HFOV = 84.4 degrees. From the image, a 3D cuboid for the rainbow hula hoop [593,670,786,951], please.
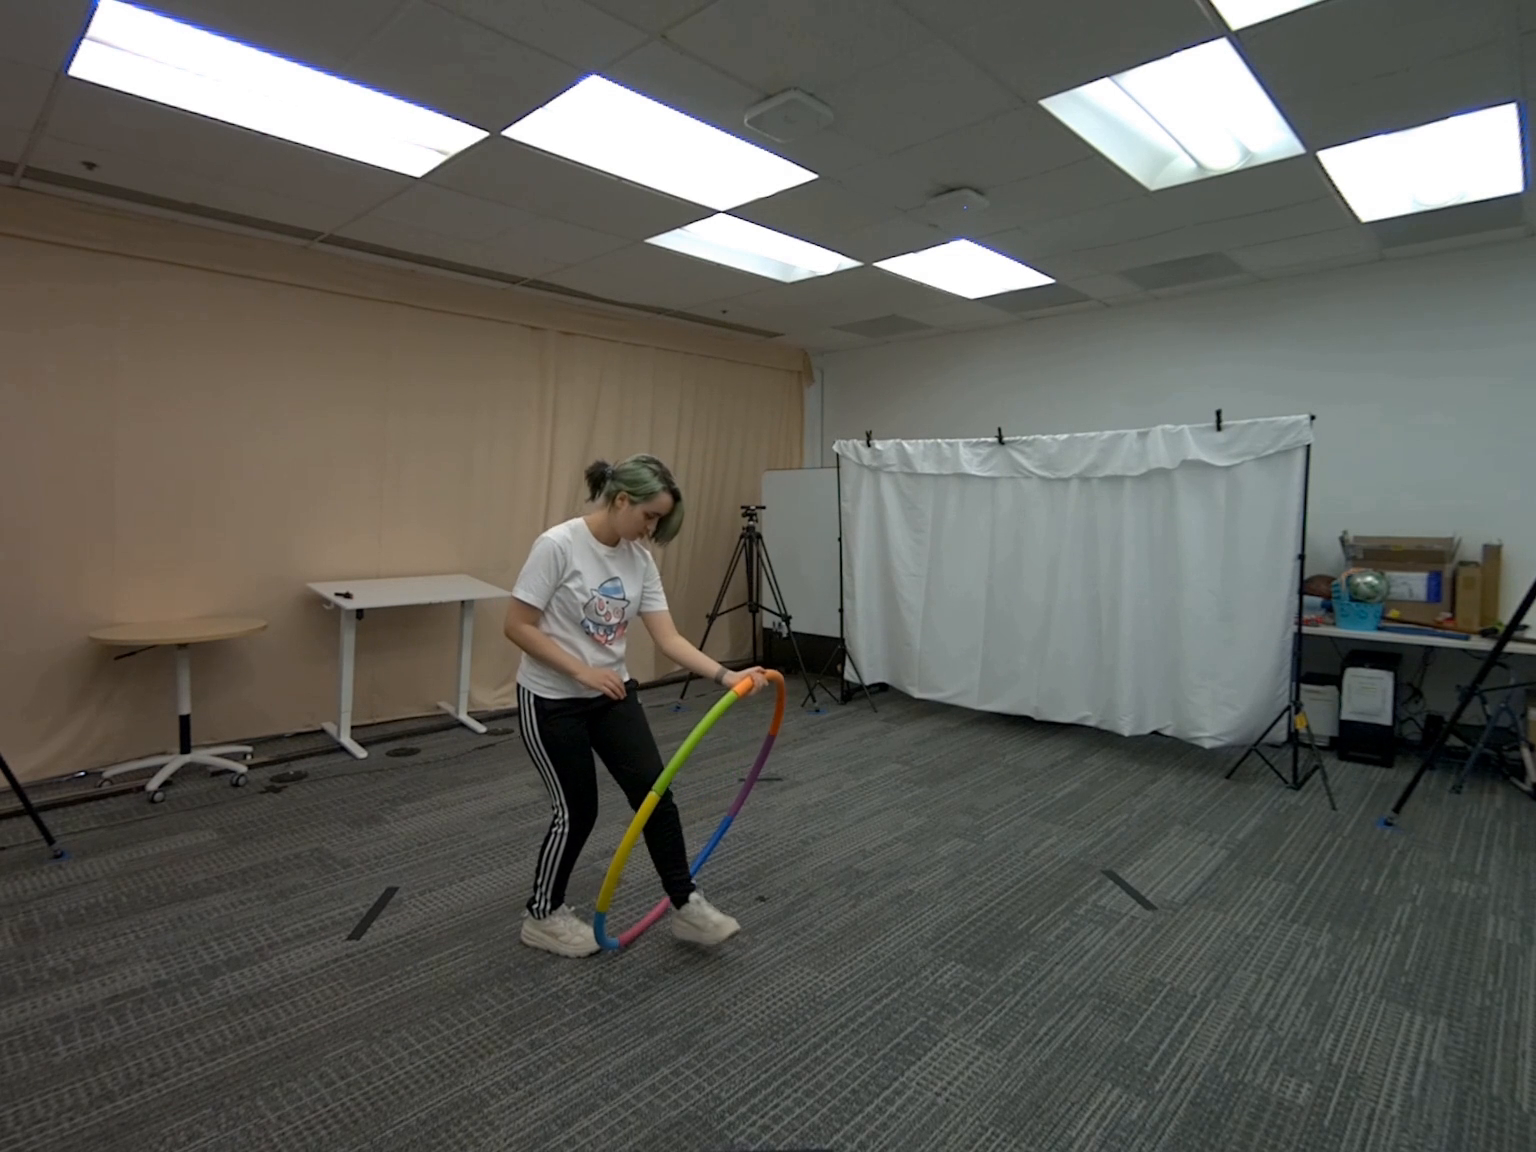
[{"bbox_3d":[-0.214,0.735,2.669,0.036,0.977,0.957,30,15,18],"label":"rainbow hula hoop"}]
